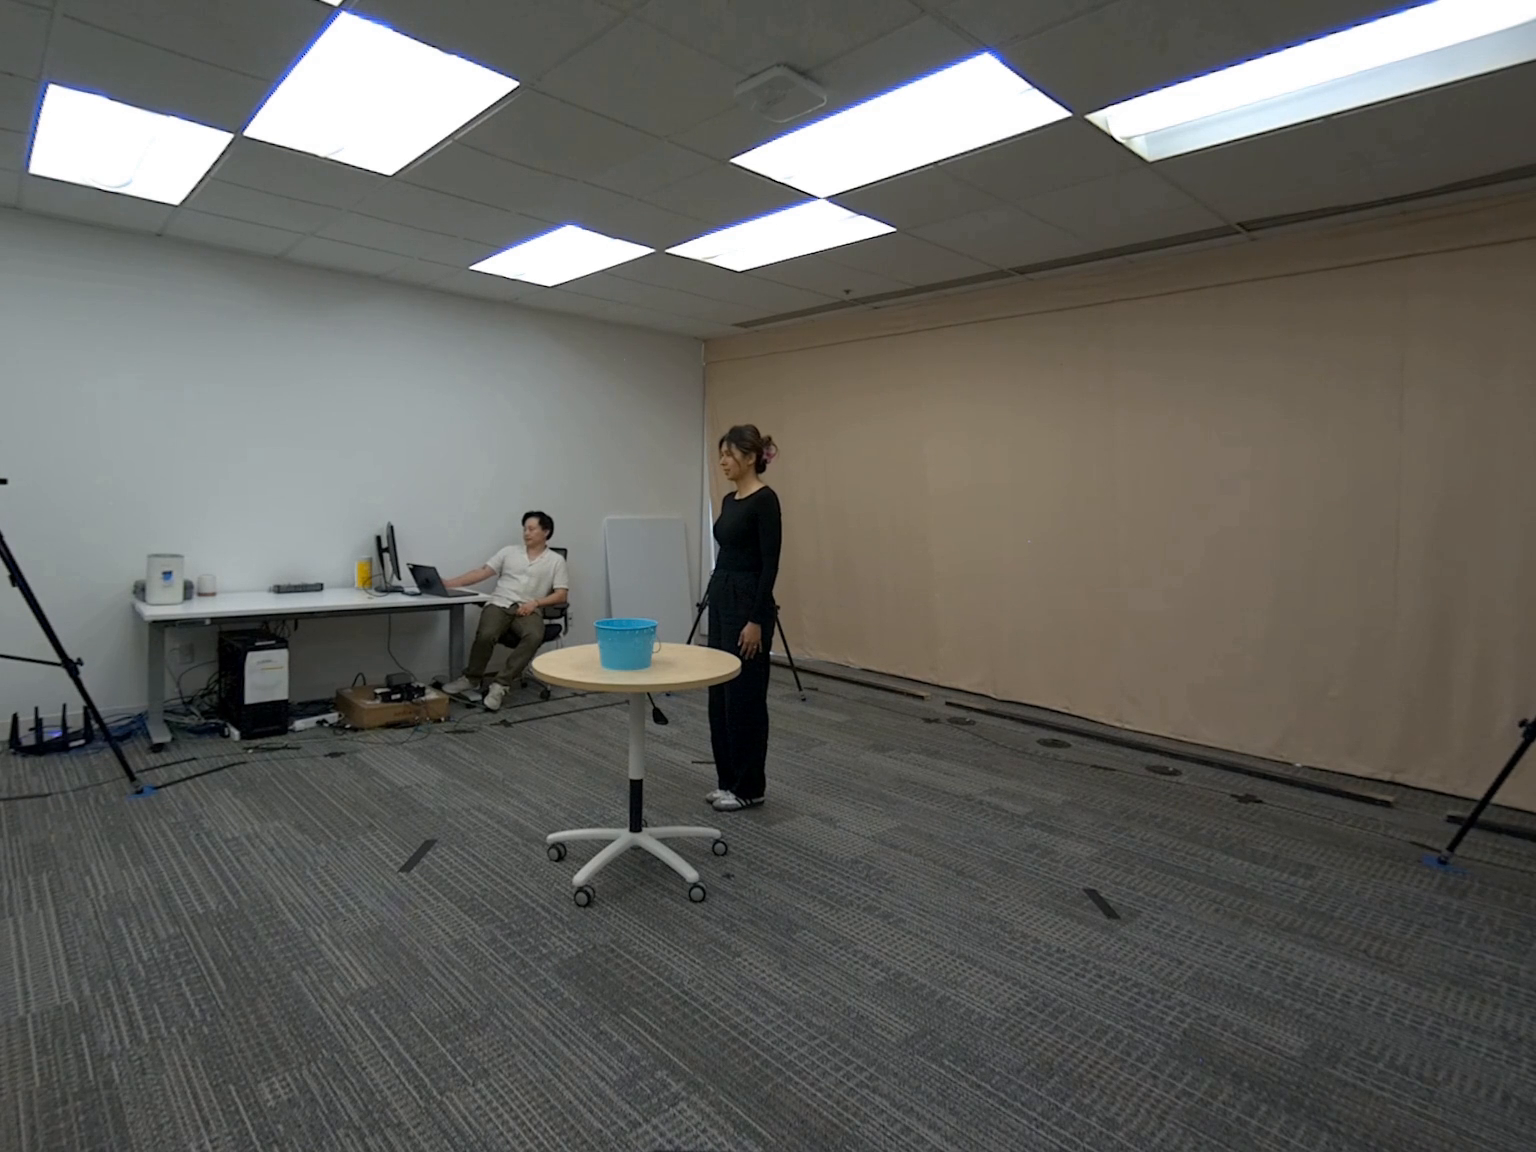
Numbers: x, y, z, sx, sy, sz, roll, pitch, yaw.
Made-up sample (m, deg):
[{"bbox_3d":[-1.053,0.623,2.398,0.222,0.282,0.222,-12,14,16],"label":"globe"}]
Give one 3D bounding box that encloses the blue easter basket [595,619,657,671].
[{"bbox_3d":[-0.518,0.252,3.038,0.243,0.155,0.244,0,5,-1],"label":"blue easter basket"}]
